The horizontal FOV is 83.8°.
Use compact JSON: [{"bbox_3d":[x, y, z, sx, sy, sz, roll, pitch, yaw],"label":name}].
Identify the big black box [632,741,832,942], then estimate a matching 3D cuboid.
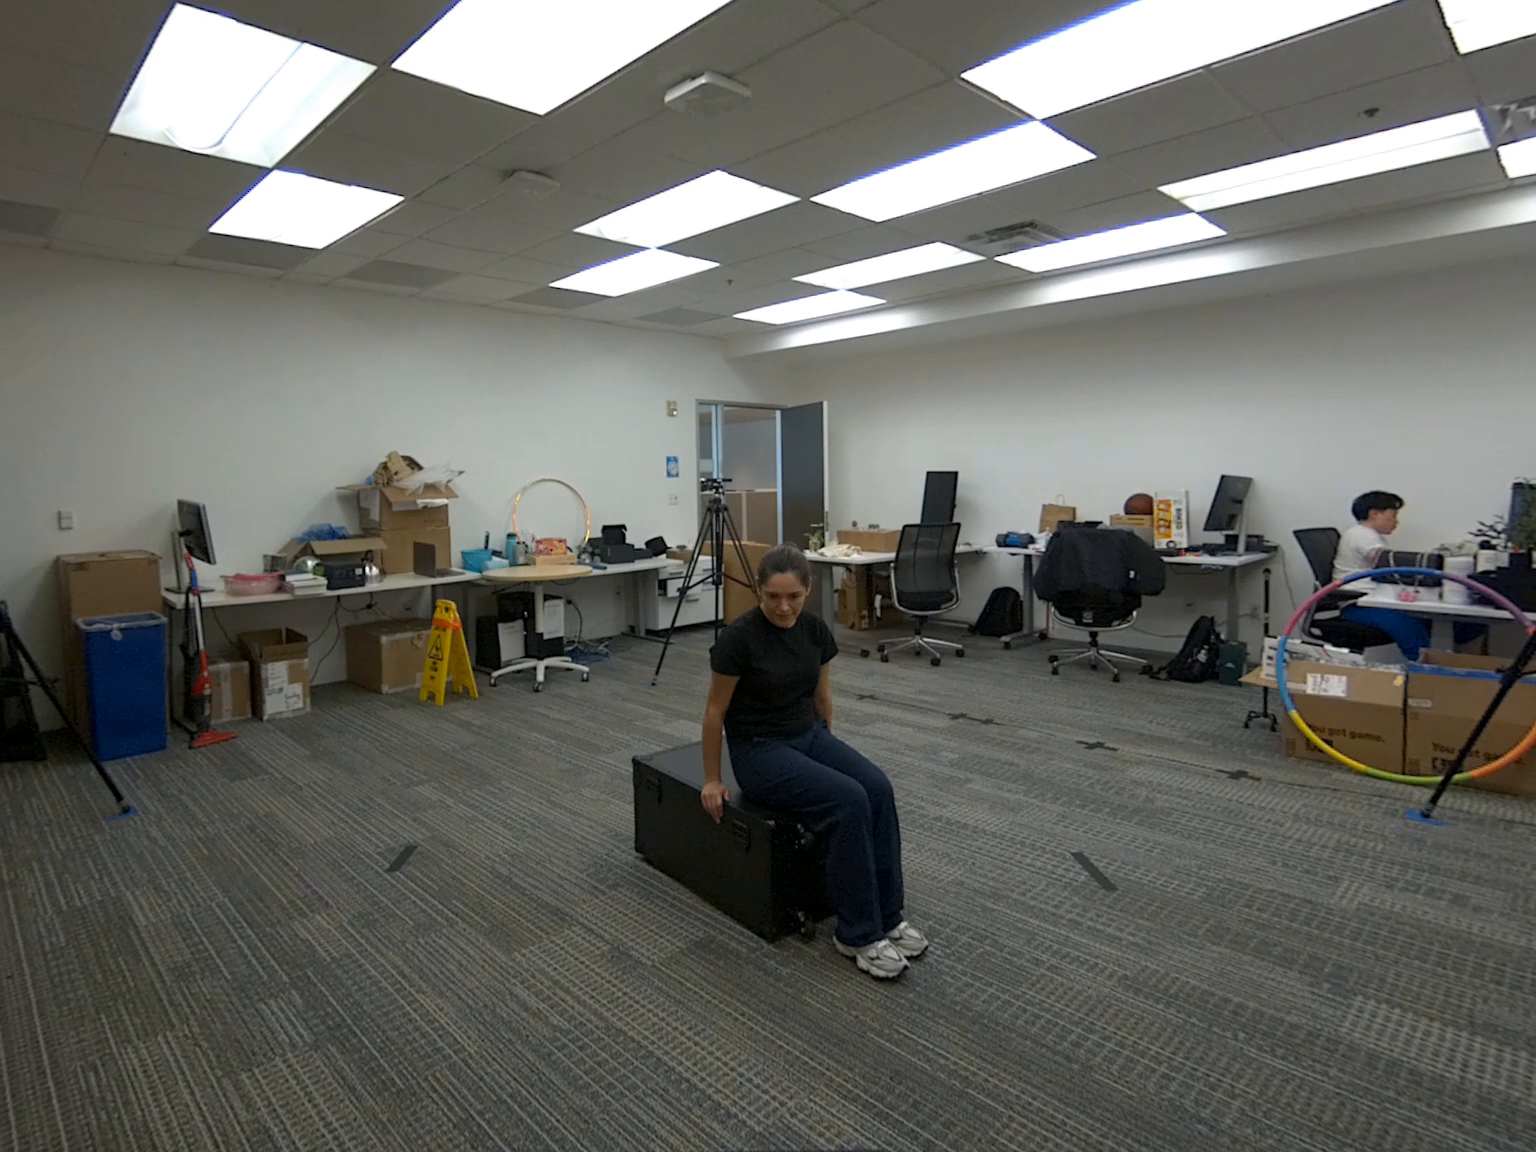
[{"bbox_3d":[-0.082,0.866,3.036,0.507,0.394,0.889,-5,8,-39],"label":"big black box"}]
